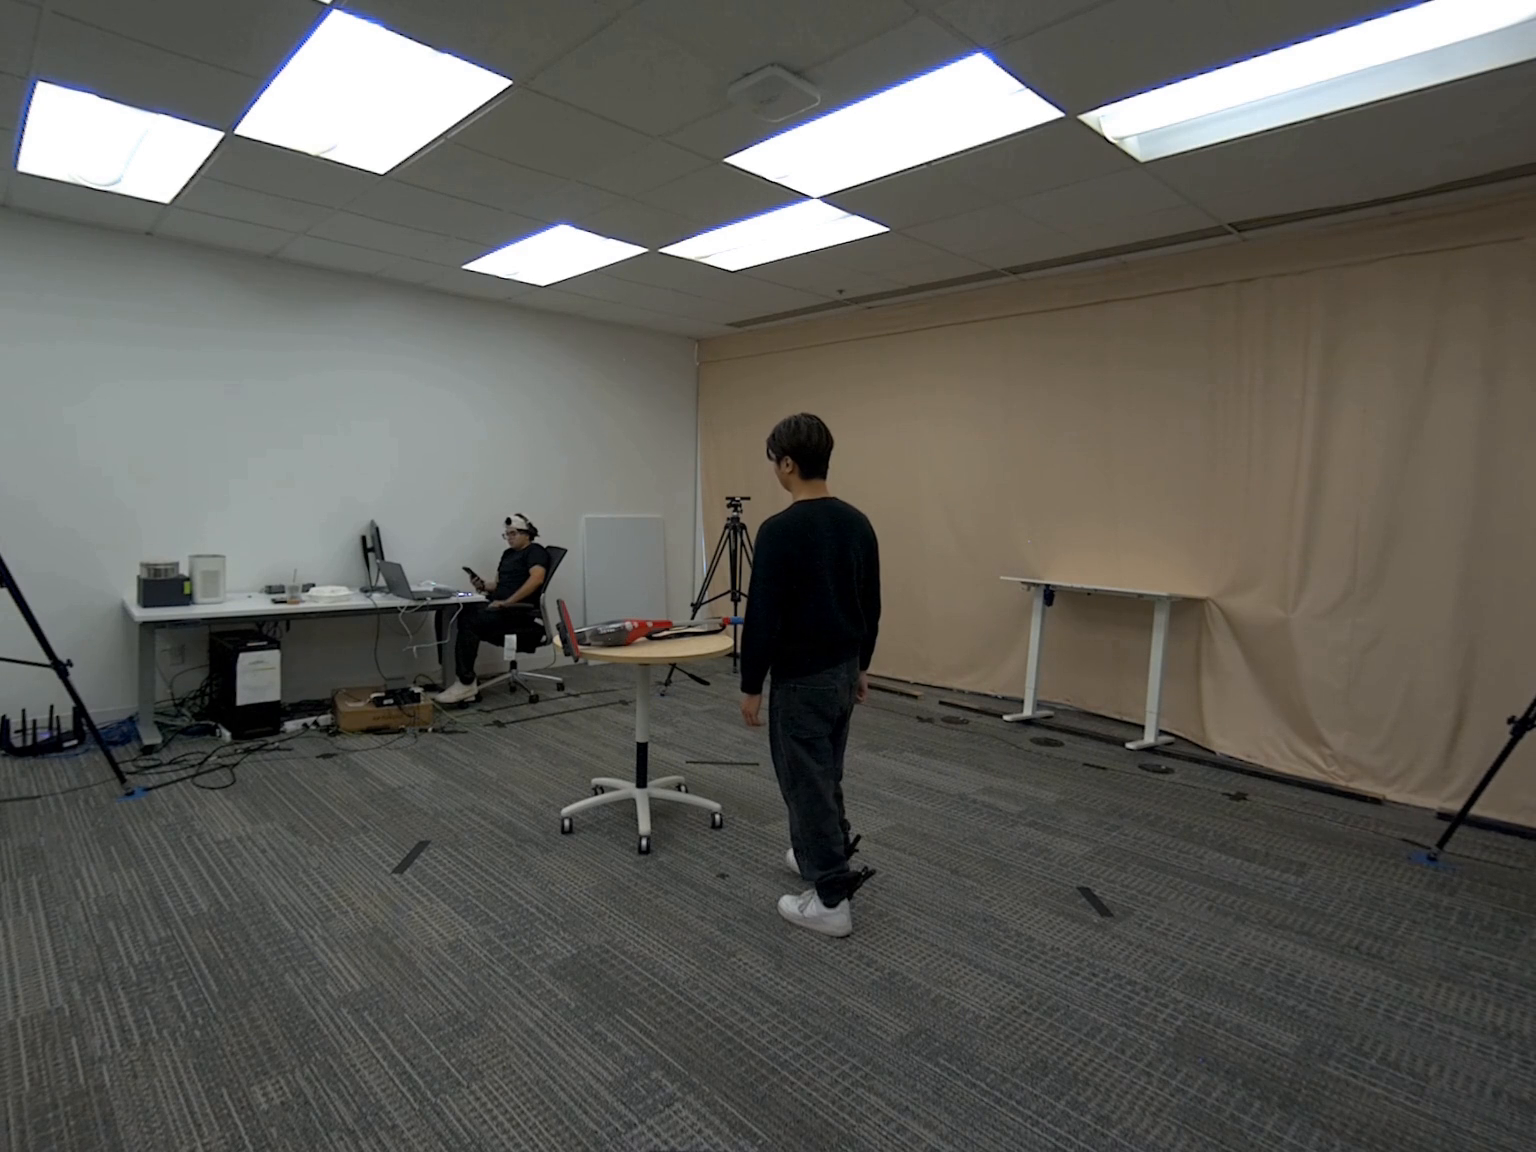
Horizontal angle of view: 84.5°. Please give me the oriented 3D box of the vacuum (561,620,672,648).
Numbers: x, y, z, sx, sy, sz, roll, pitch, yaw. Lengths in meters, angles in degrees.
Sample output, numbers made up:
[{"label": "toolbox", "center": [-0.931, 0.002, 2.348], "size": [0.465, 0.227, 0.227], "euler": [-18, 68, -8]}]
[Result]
[{"label": "vacuum", "center": [-0.449, 0.233, 3.601], "size": [1.024, 0.257, 0.144], "euler": [0, -30, -48]}]
